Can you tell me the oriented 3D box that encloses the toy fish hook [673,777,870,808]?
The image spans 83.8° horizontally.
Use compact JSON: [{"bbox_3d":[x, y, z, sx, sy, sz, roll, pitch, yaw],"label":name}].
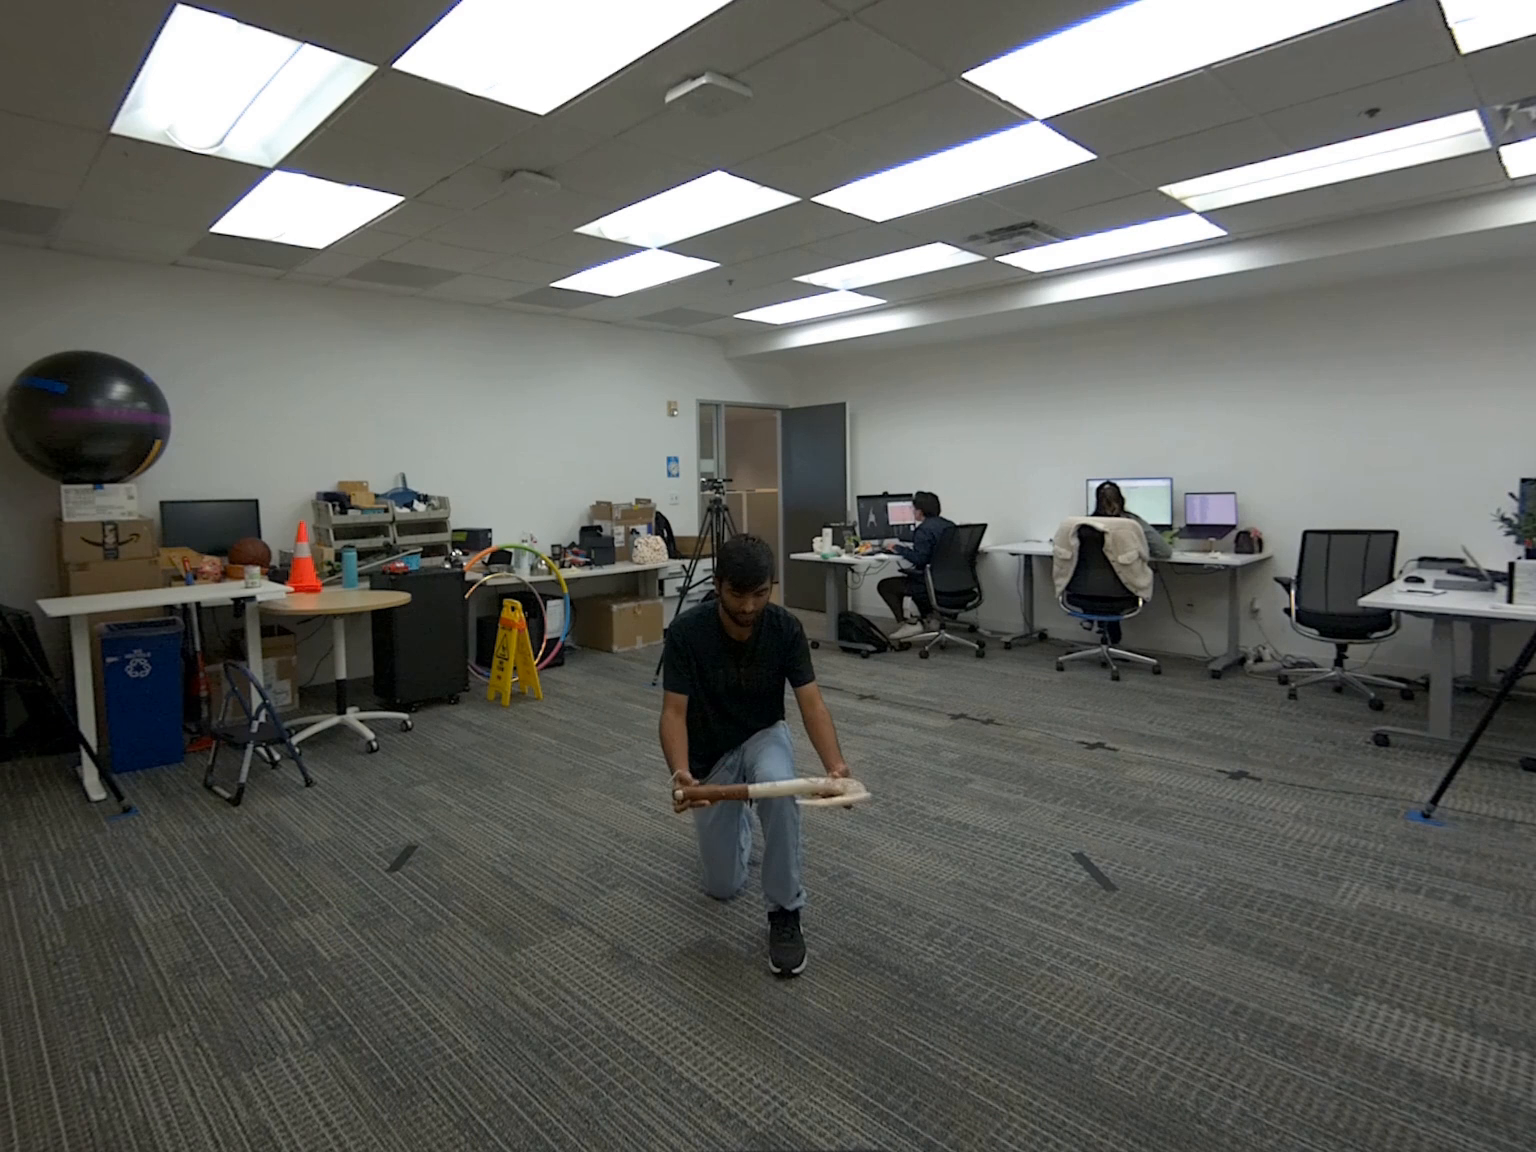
[{"bbox_3d":[0.005,0.571,2.201,0.505,0.048,0.224,-3,-5,-4],"label":"toy fish hook"}]
